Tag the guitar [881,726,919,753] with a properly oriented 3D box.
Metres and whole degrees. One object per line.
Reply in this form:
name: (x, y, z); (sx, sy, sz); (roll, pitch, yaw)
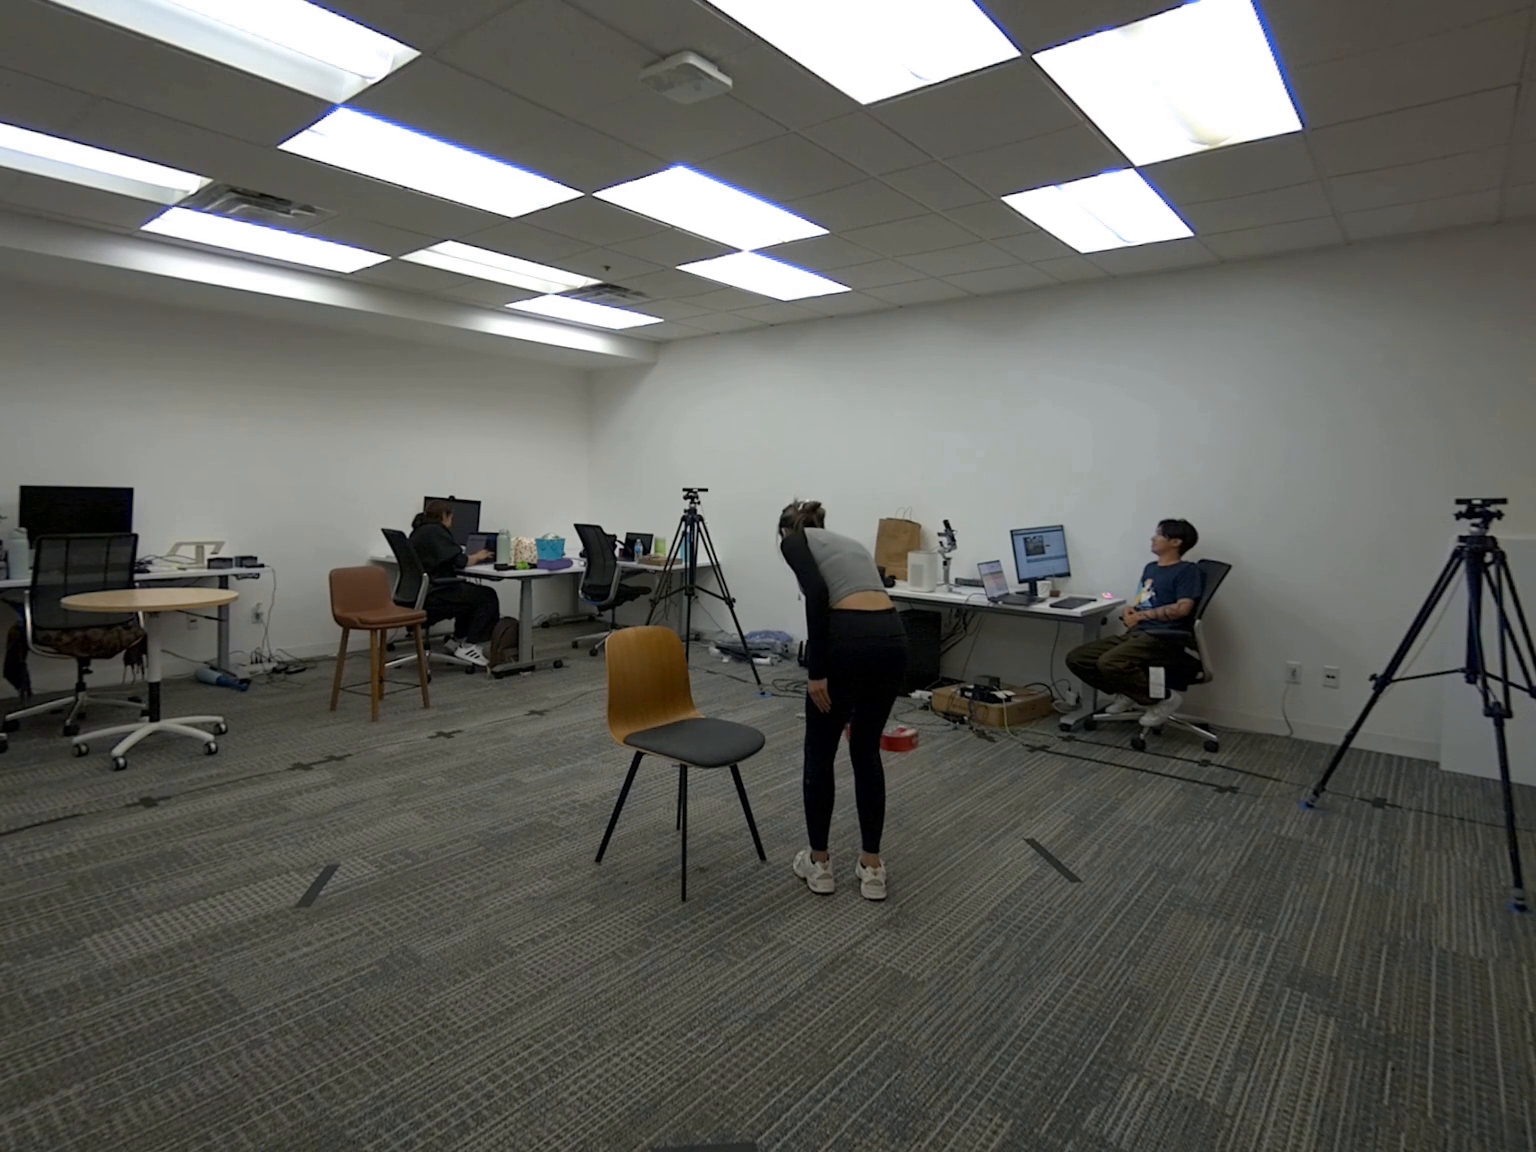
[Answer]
guitar: (0.346, 0.602, 3.327); (0.514, 0.070, 0.187); (4, 4, 41)
